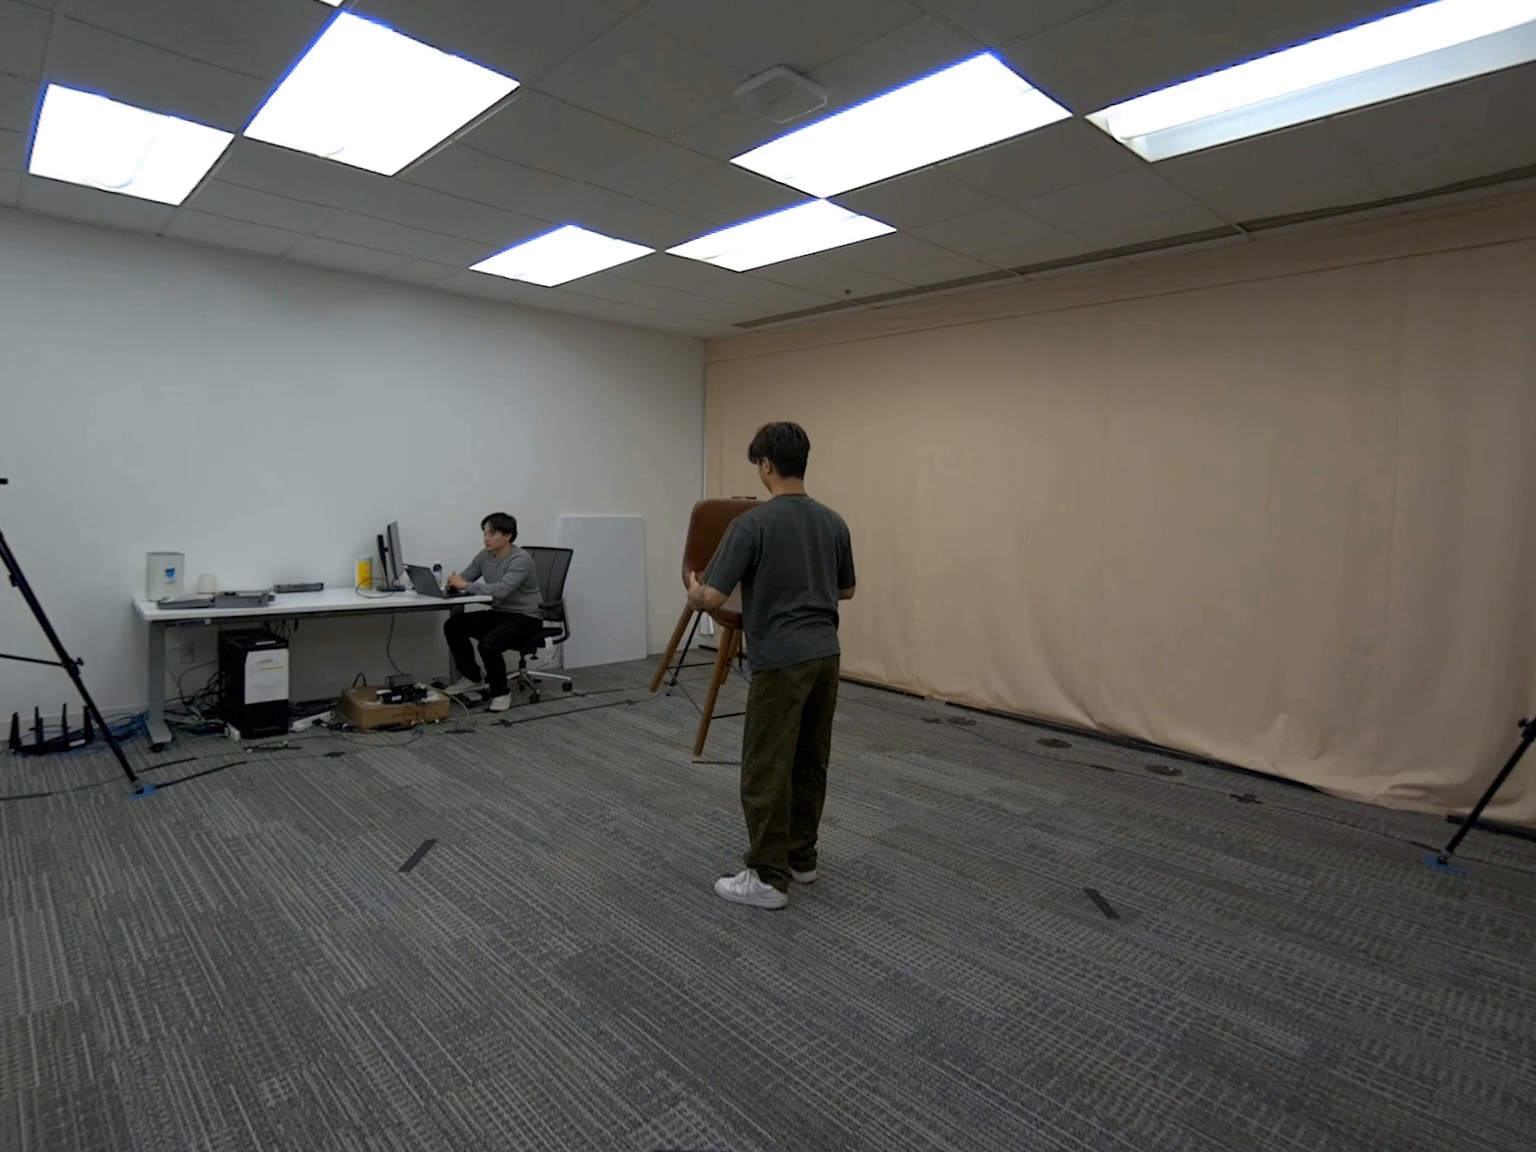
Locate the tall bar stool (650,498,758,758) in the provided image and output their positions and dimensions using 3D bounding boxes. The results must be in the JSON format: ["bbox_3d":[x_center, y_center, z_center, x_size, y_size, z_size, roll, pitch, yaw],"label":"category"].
[{"bbox_3d":[-0.121,0.193,3.319,0.446,0.881,0.483,0,24,-36],"label":"tall bar stool"}]
